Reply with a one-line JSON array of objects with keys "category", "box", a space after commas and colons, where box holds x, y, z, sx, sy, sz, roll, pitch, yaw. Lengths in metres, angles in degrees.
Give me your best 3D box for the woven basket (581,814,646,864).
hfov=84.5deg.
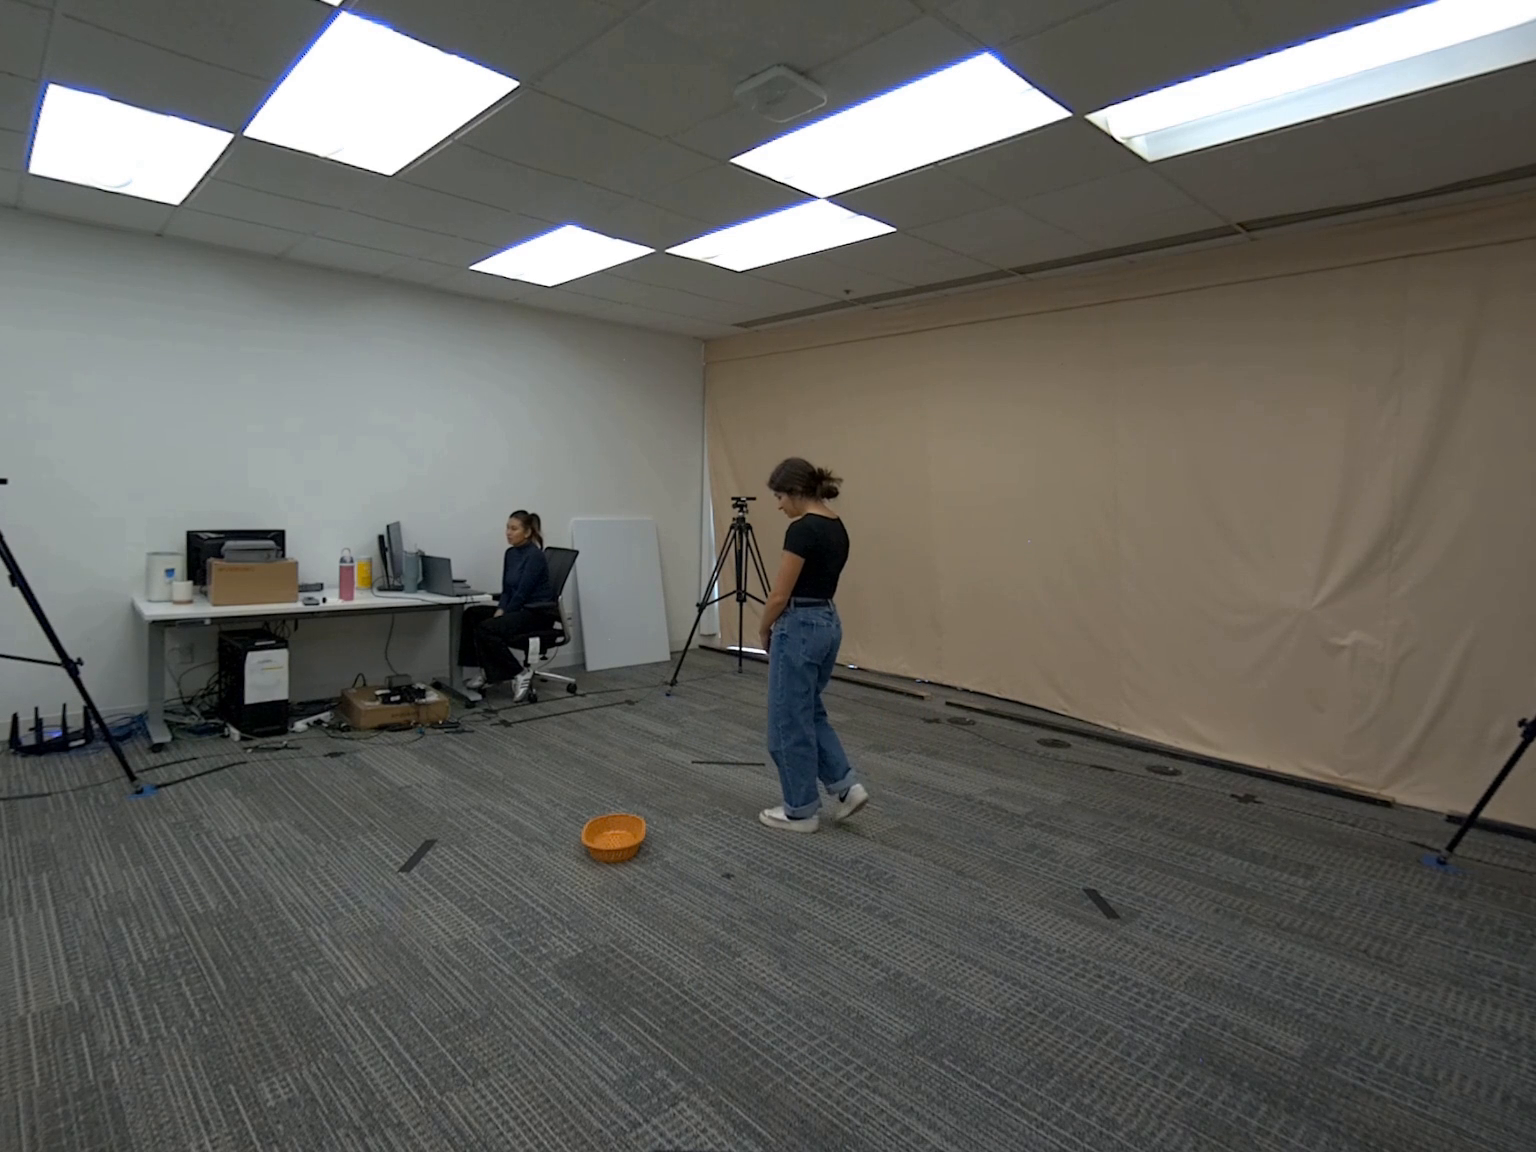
[{"category": "woven basket", "box": [-0.619, 1.040, 3.328, 0.252, 0.073, 0.352, 0, 6, -3]}]
